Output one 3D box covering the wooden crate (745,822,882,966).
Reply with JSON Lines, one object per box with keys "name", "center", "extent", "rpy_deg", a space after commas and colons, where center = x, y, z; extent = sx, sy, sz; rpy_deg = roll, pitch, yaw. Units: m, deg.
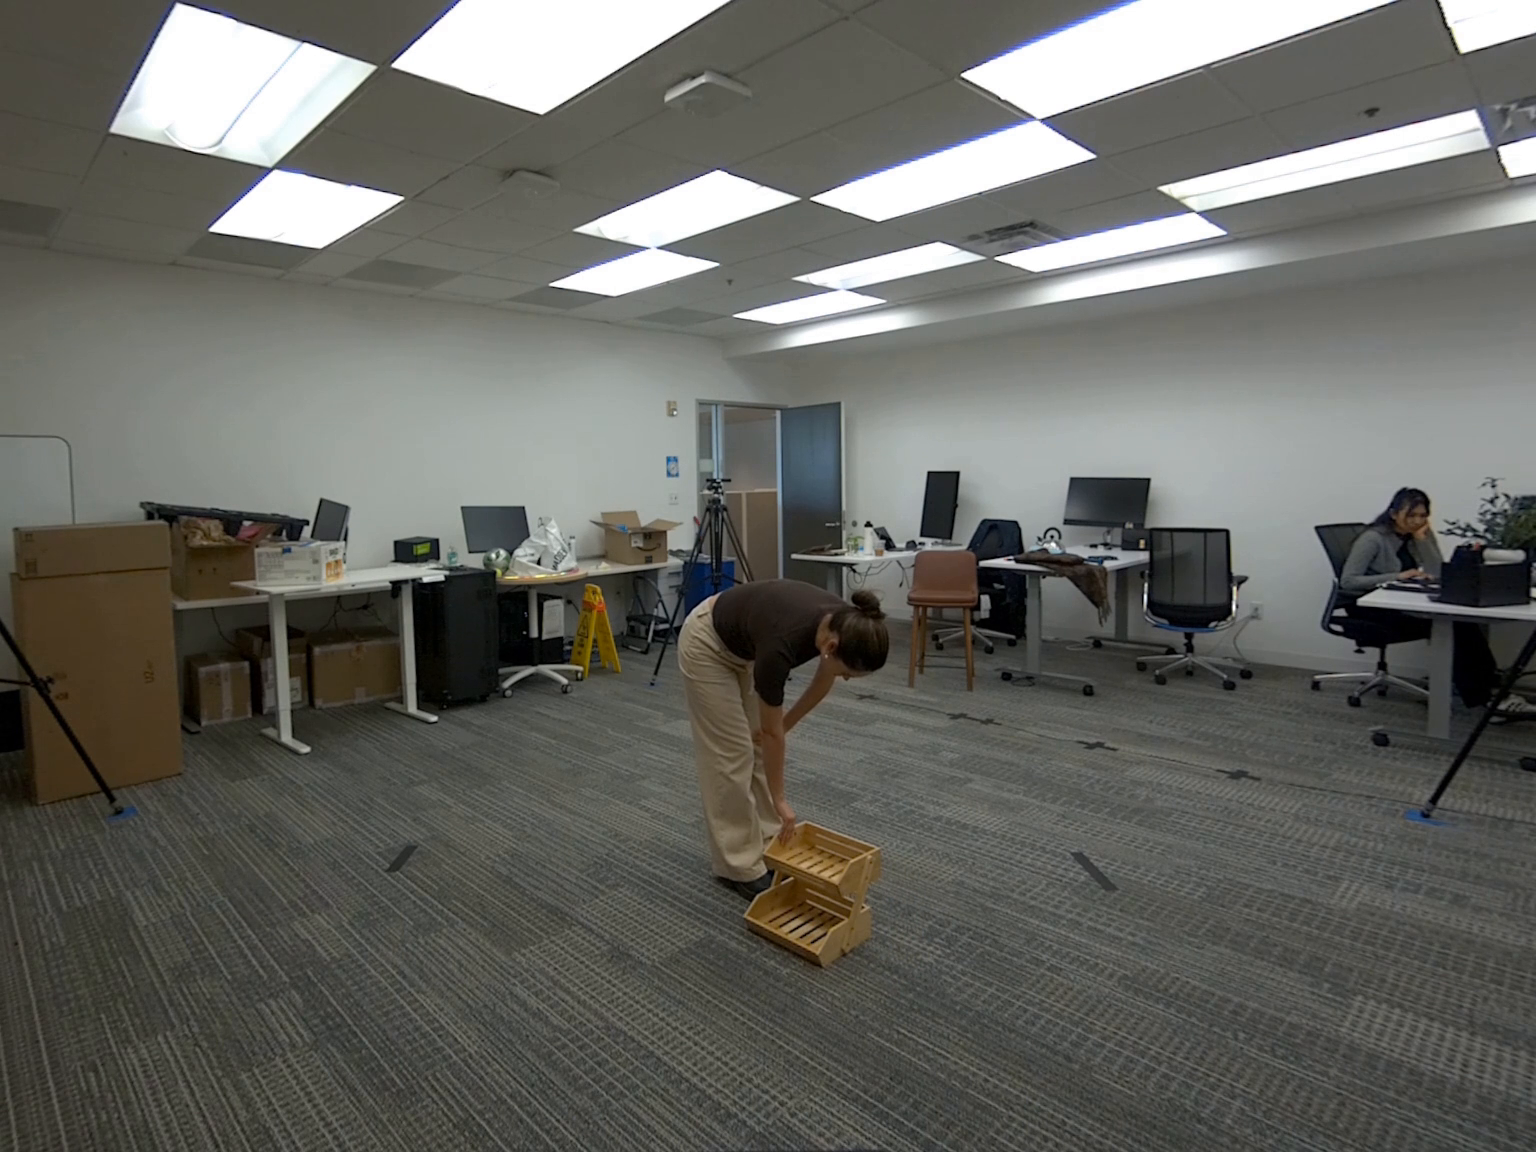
{"name": "wooden crate", "center": [0.136, 0.961, 2.626], "extent": [0.334, 0.272, 0.294], "rpy_deg": [4, 6, 45]}
